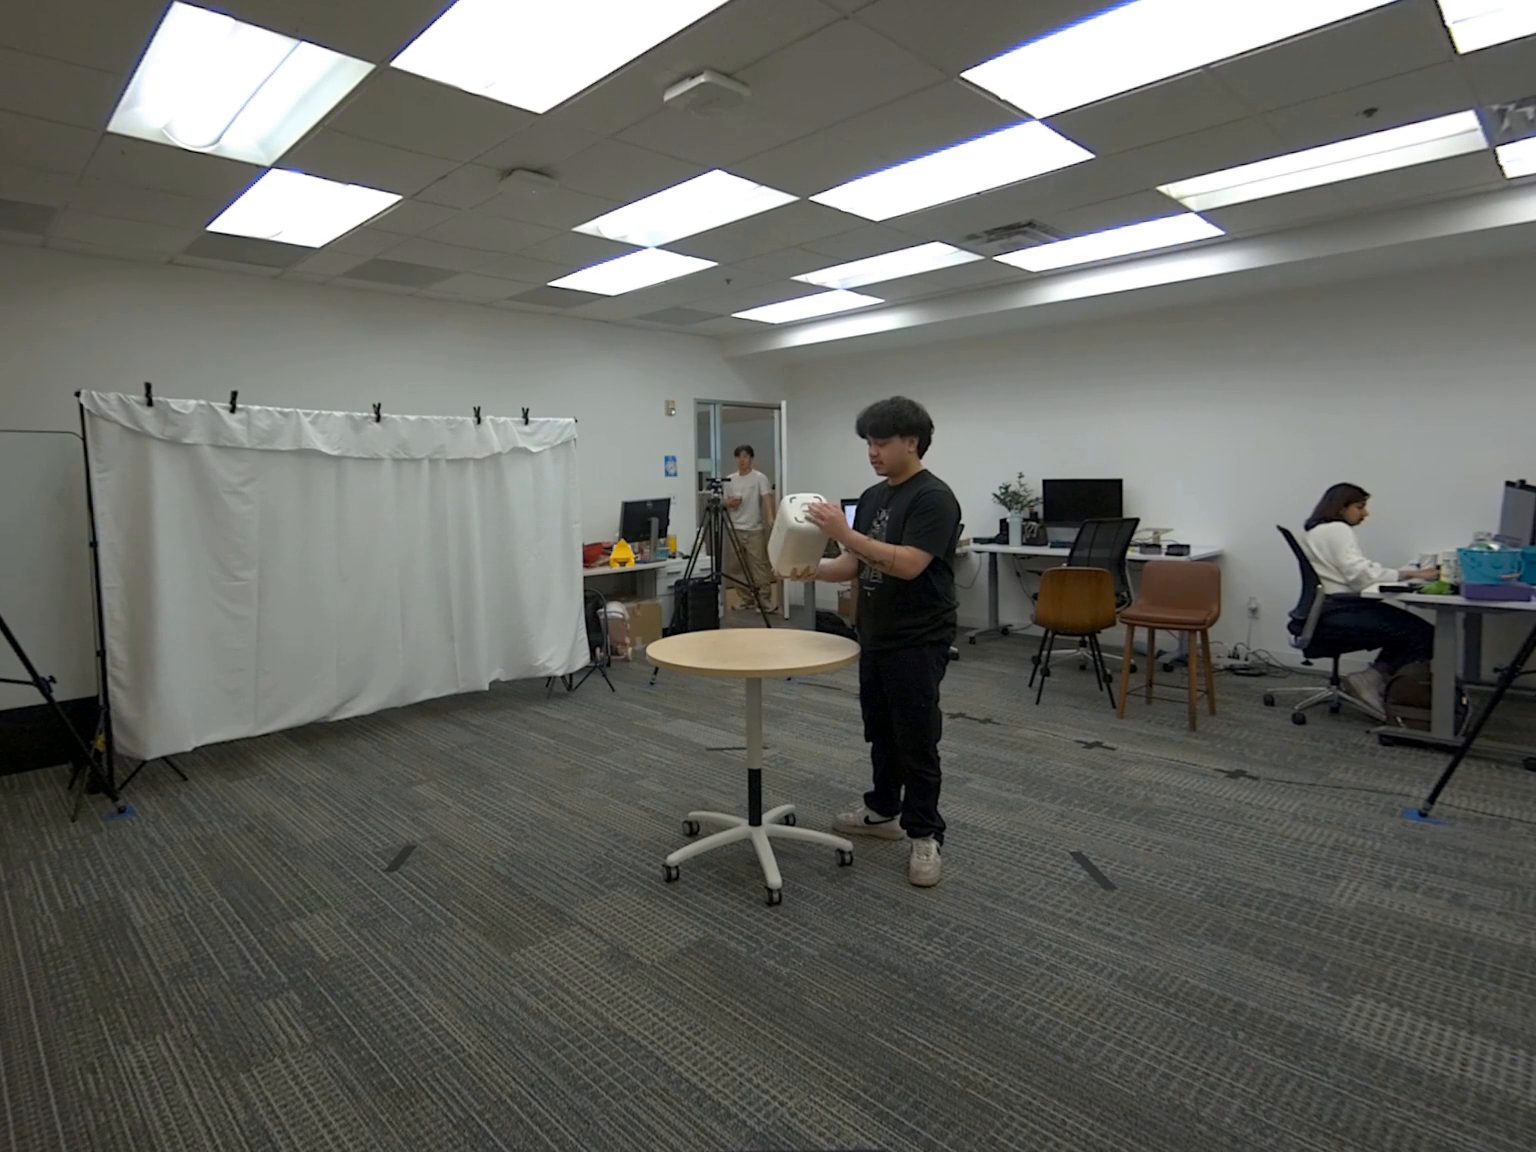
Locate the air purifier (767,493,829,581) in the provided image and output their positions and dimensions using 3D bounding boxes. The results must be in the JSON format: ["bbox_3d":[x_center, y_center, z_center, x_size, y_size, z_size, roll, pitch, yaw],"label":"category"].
[{"bbox_3d":[0.119,-0.144,2.958,0.169,0.176,0.260,-3,-37,-15],"label":"air purifier"}]
